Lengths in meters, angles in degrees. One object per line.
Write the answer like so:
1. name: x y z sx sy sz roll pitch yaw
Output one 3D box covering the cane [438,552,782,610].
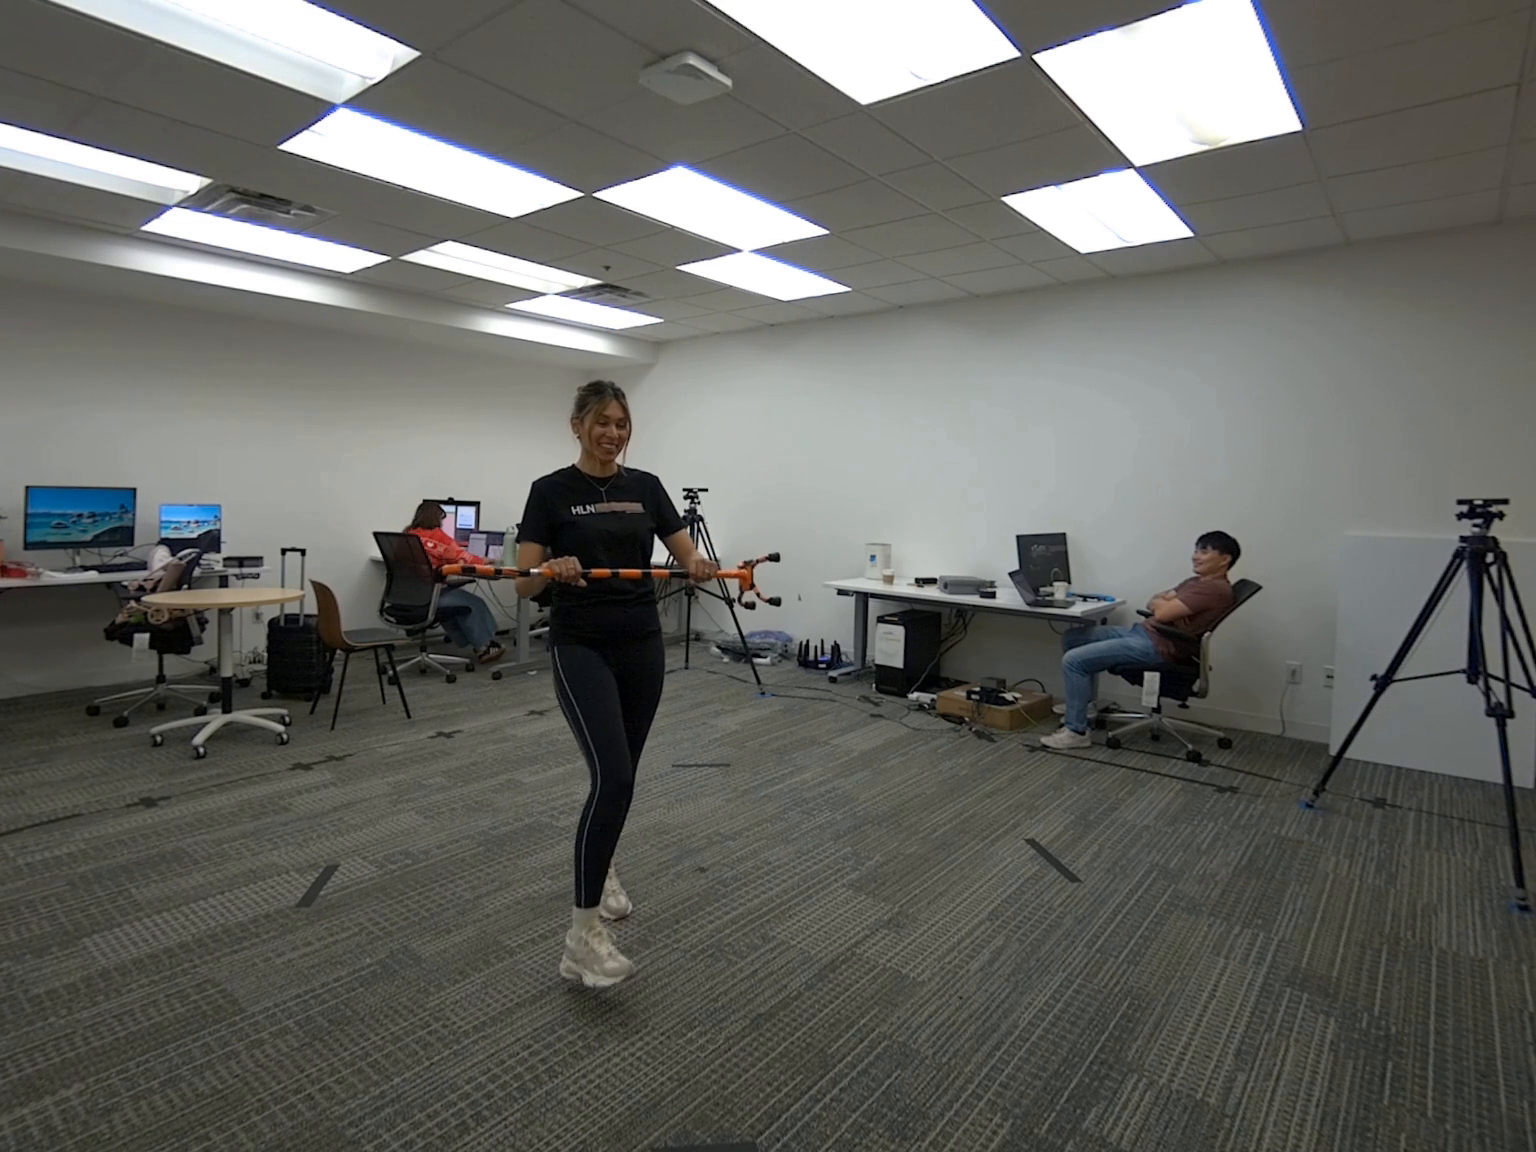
1. cane: -0.418 0.012 2.258 0.888 0.153 0.210 1 -6 -22
